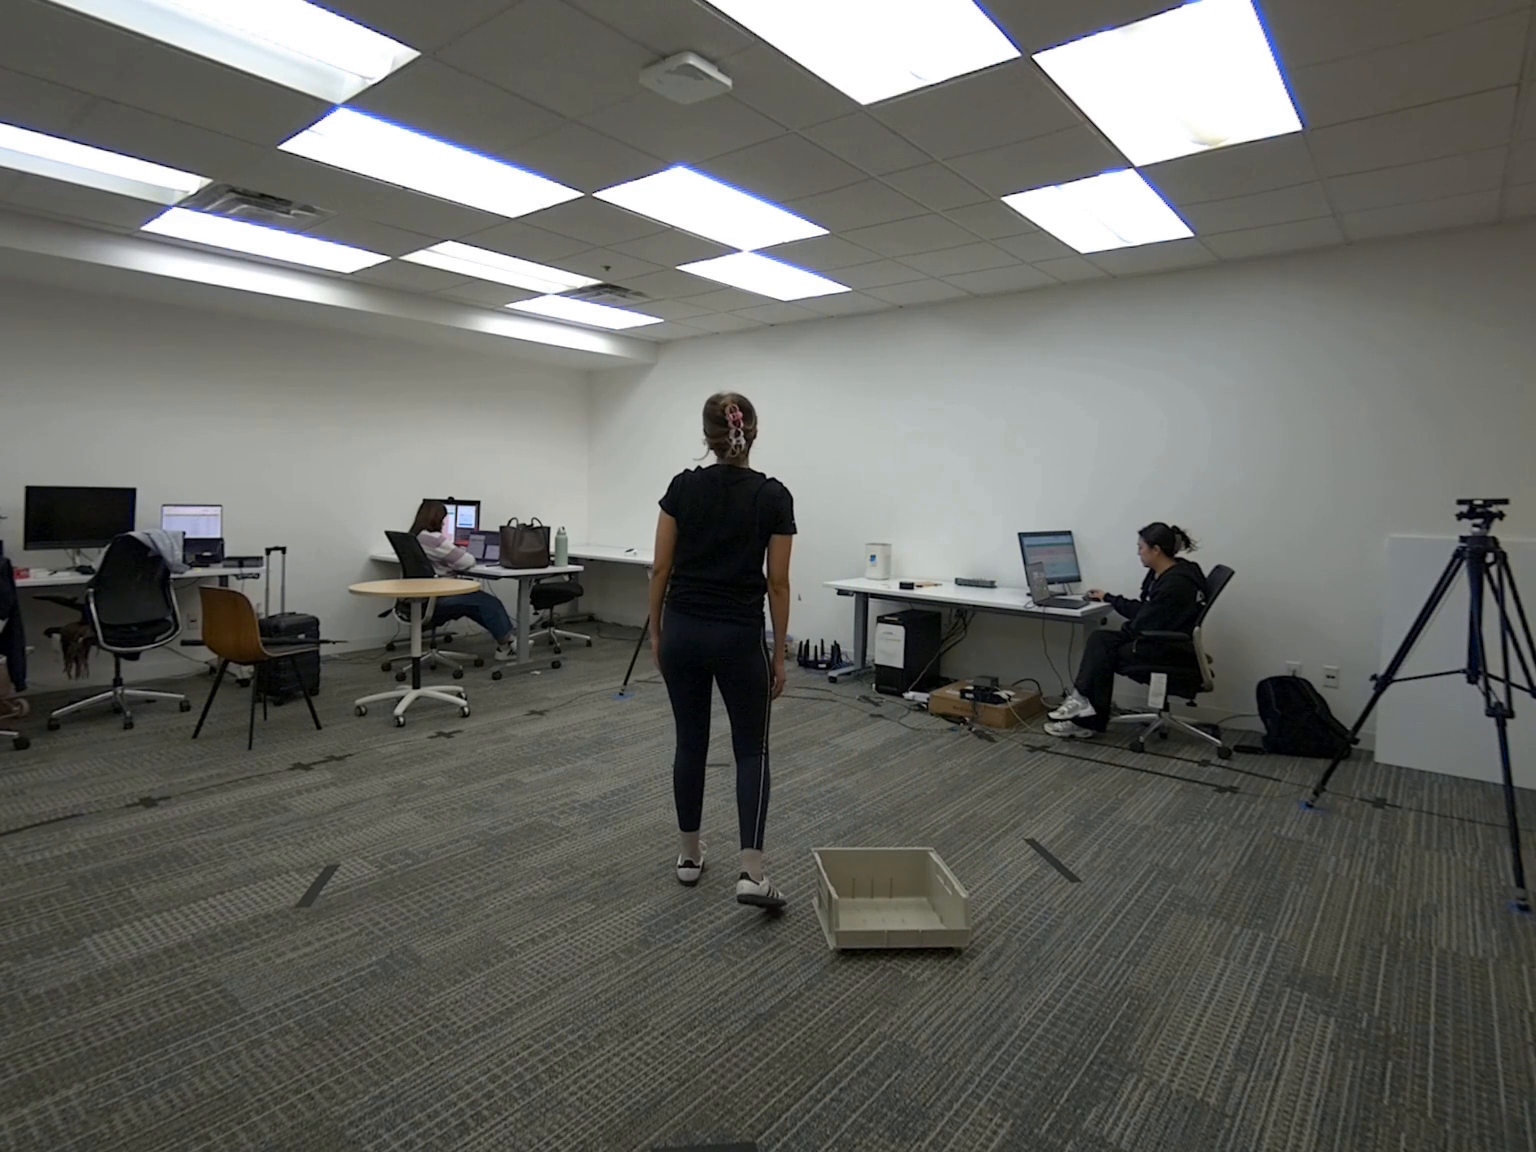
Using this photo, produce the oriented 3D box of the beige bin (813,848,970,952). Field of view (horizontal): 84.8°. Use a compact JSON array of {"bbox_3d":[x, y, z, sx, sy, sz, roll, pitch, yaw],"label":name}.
[{"bbox_3d":[0.374,1.032,2.715,0.420,0.188,0.381,0,4,-6],"label":"beige bin"}]
